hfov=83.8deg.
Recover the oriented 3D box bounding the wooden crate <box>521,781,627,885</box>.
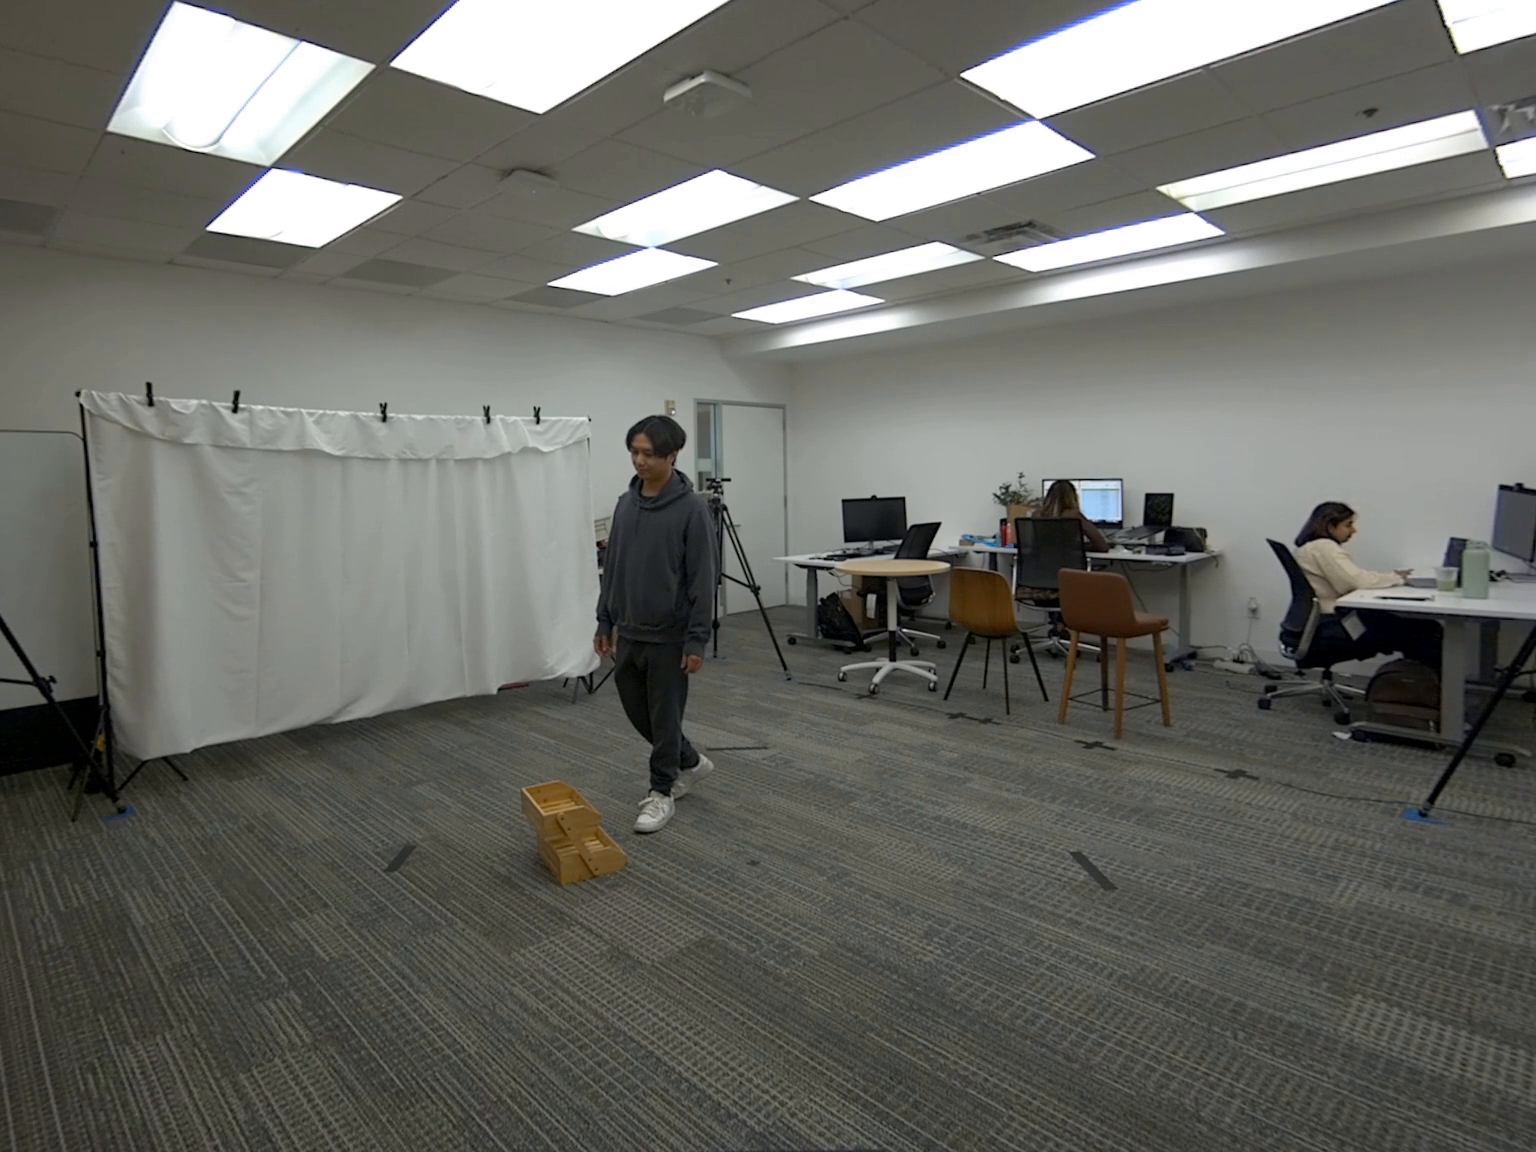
[{"bbox_3d":[-0.716,0.919,3.133,0.295,0.272,0.333,-5,7,-28],"label":"wooden crate"}]
